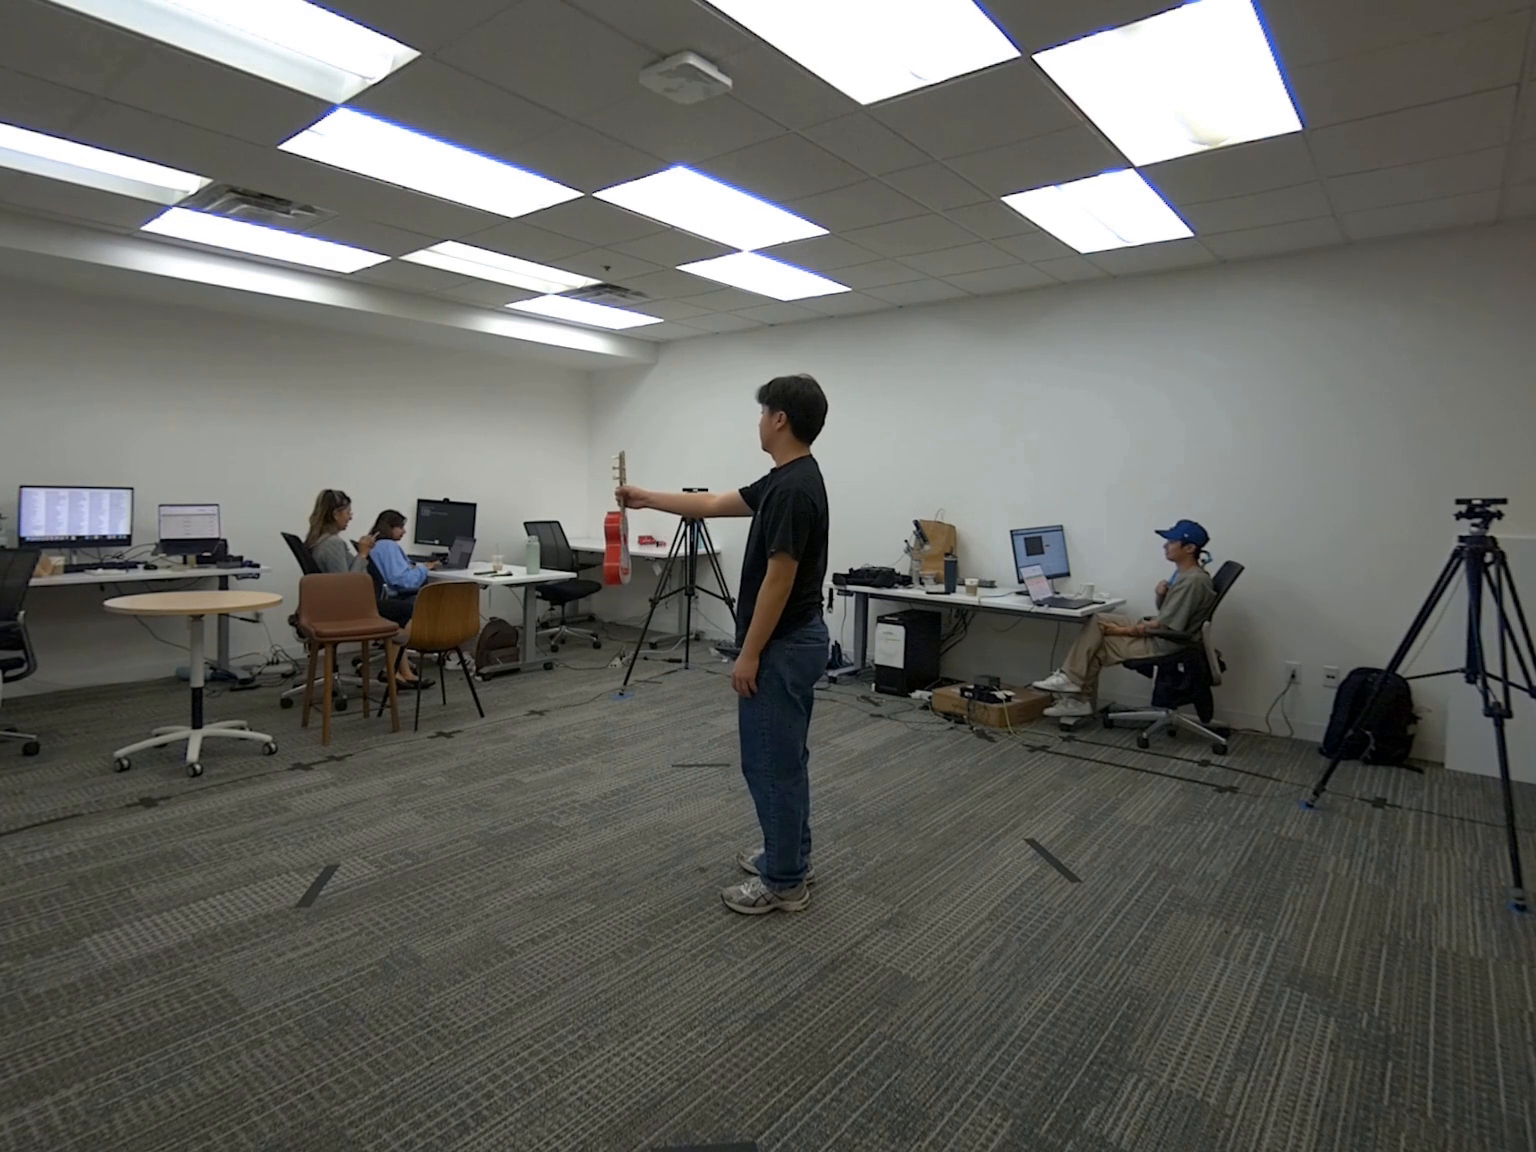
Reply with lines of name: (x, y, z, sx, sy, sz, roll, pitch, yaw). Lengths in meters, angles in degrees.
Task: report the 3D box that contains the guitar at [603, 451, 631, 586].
guitar: (-0.573, -0.209, 3.174, 0.071, 0.501, 0.191, -2, -7, 0)
